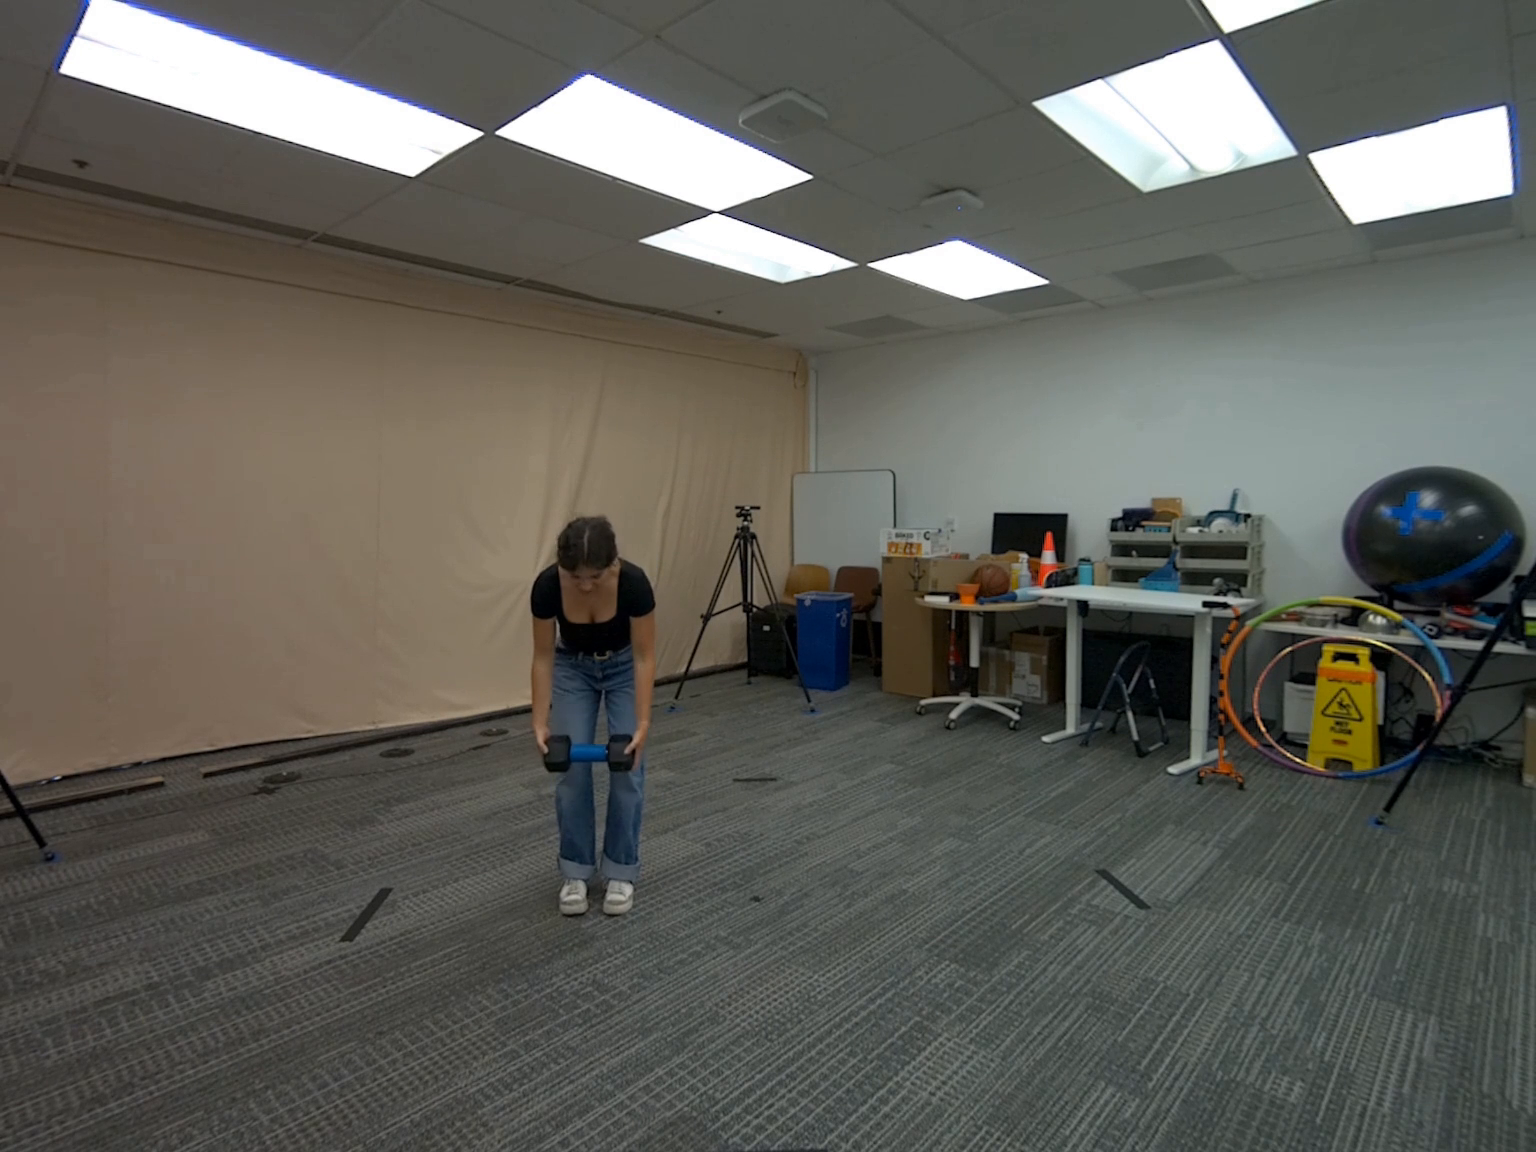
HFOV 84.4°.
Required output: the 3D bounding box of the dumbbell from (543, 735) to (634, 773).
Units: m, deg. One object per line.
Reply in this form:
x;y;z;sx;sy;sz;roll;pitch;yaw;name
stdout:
-0.594;0.596;2.831;0.294;0.120;0.111;-1;45;2;dumbbell
